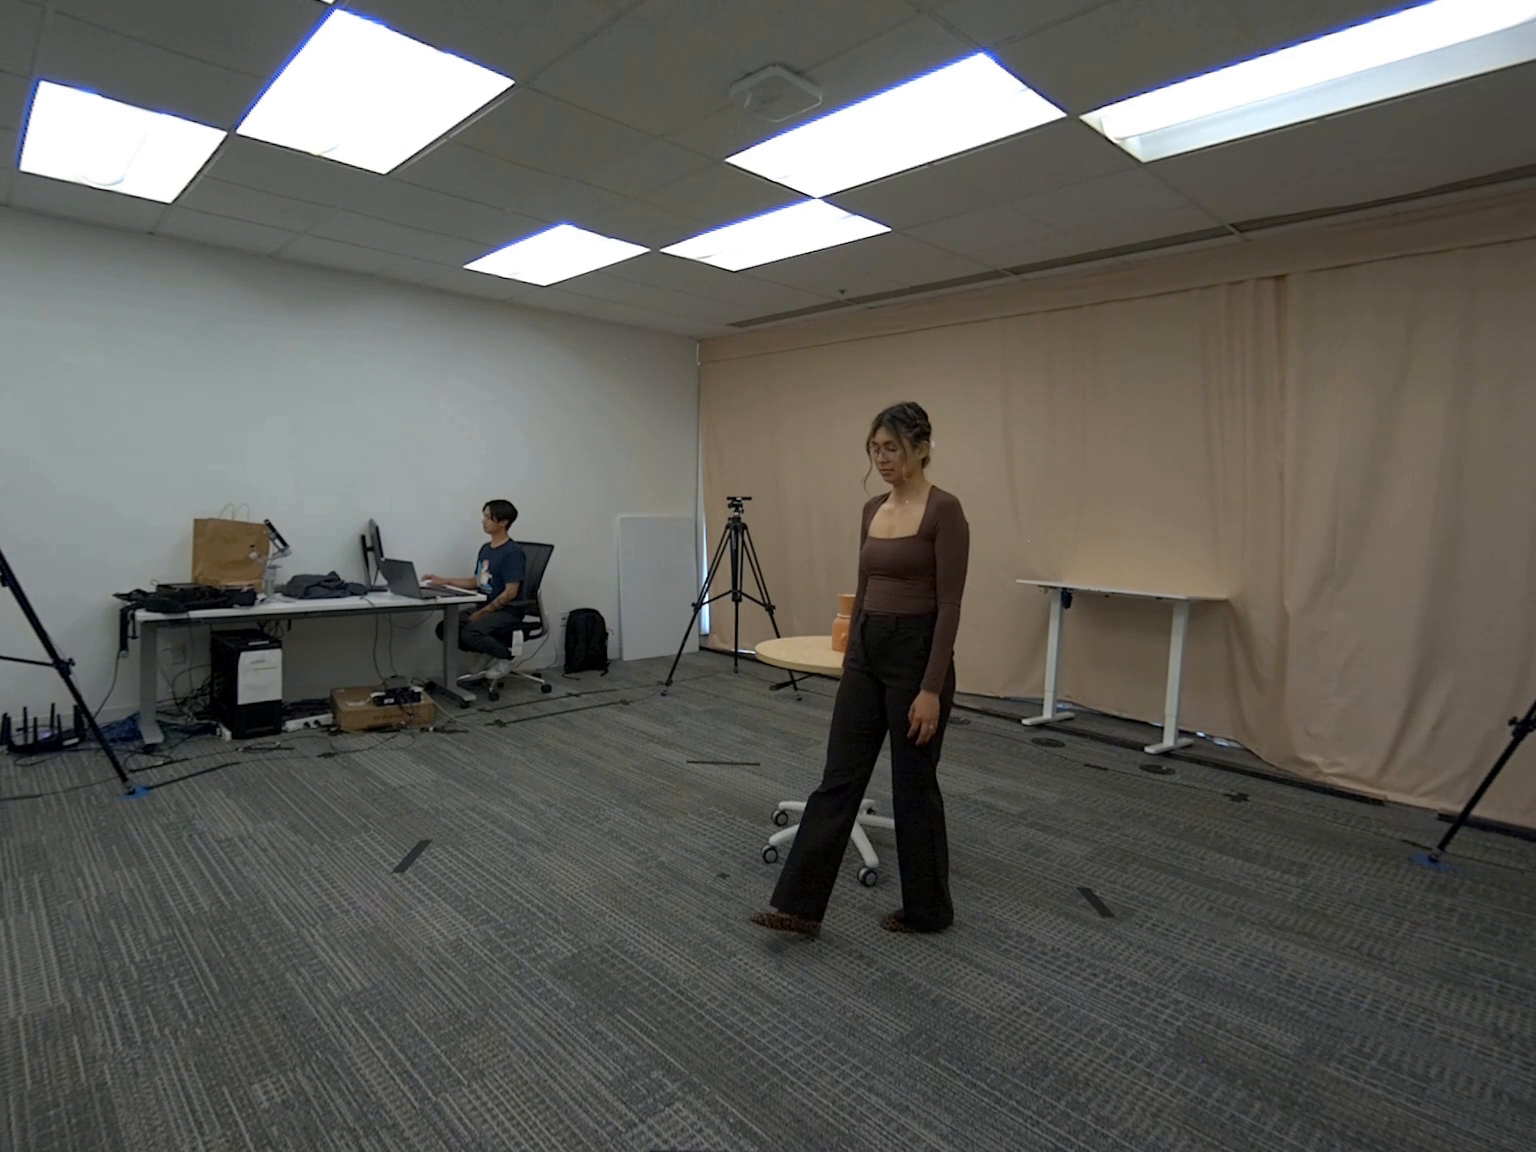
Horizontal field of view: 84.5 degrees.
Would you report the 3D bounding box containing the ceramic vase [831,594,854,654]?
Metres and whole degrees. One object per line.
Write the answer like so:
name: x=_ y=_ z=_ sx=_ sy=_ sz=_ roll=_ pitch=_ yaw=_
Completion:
ceramic vase: x=0.319 y=0.187 z=3.376 sx=0.133 sy=0.219 sz=0.161 roll=1 pitch=3 yaw=-18
